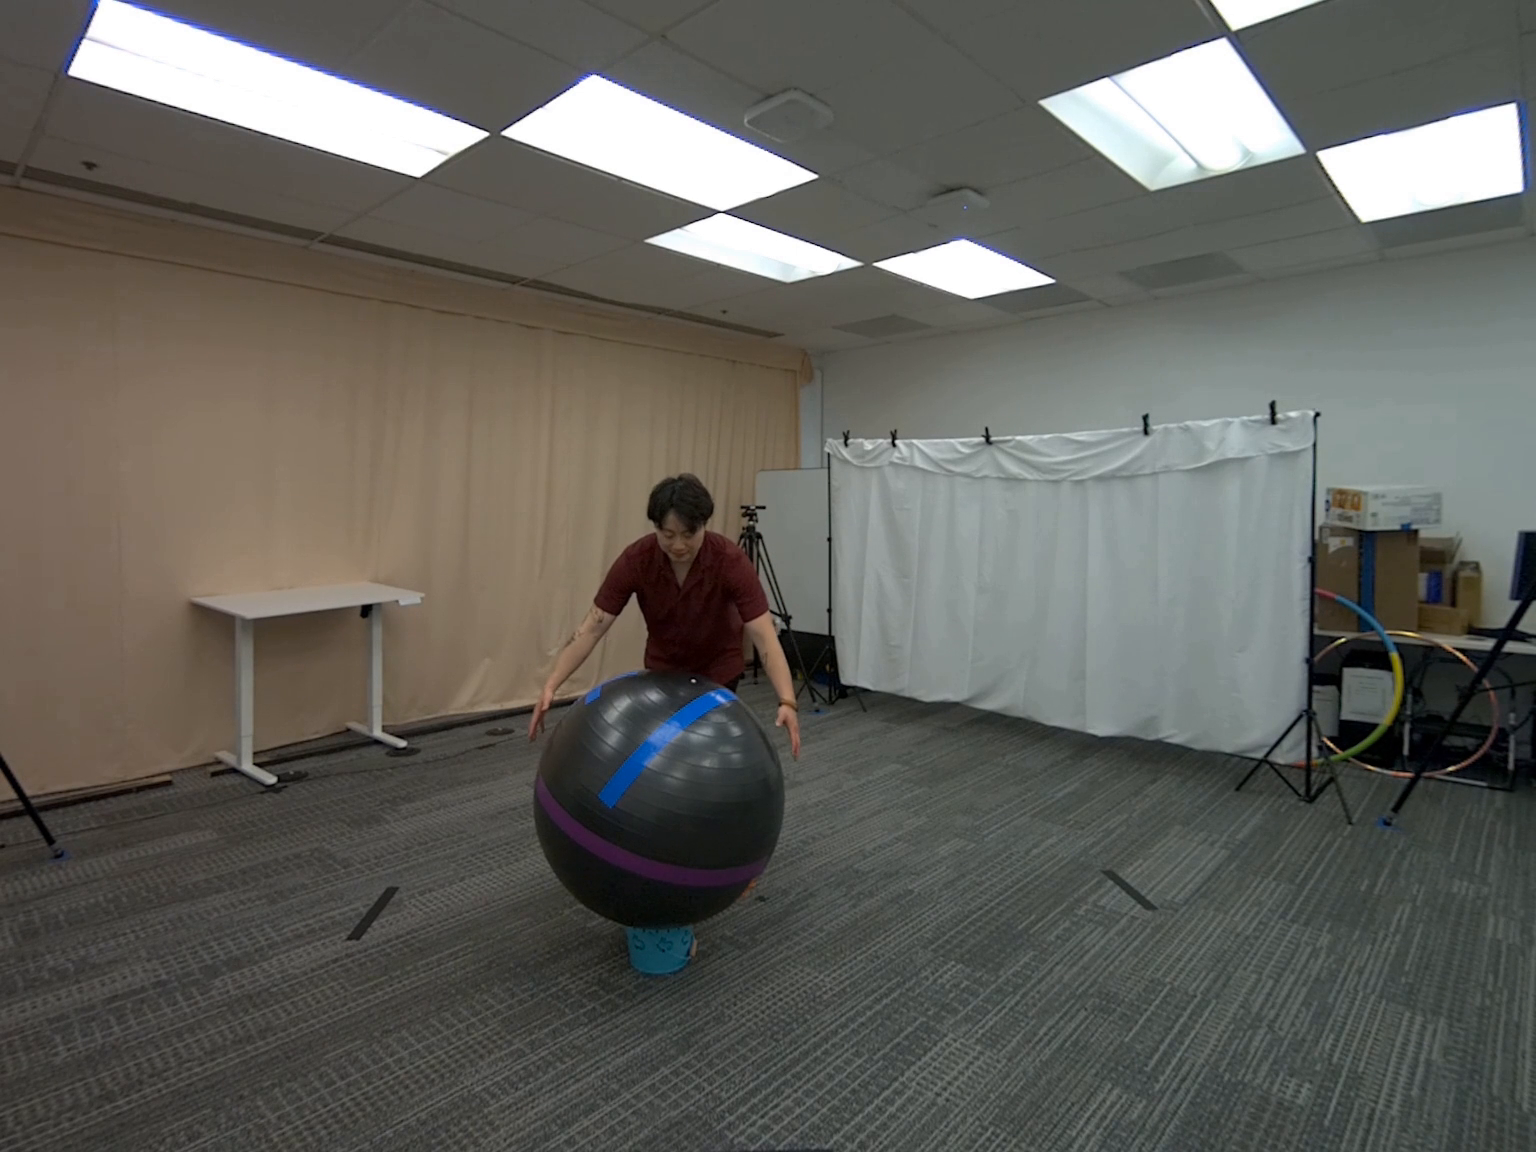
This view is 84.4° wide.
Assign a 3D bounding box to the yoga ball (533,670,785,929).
[{"bbox_3d":[-0.328,0.669,2.568,0.757,0.756,0.760,0,4,-2],"label":"yoga ball"}]
